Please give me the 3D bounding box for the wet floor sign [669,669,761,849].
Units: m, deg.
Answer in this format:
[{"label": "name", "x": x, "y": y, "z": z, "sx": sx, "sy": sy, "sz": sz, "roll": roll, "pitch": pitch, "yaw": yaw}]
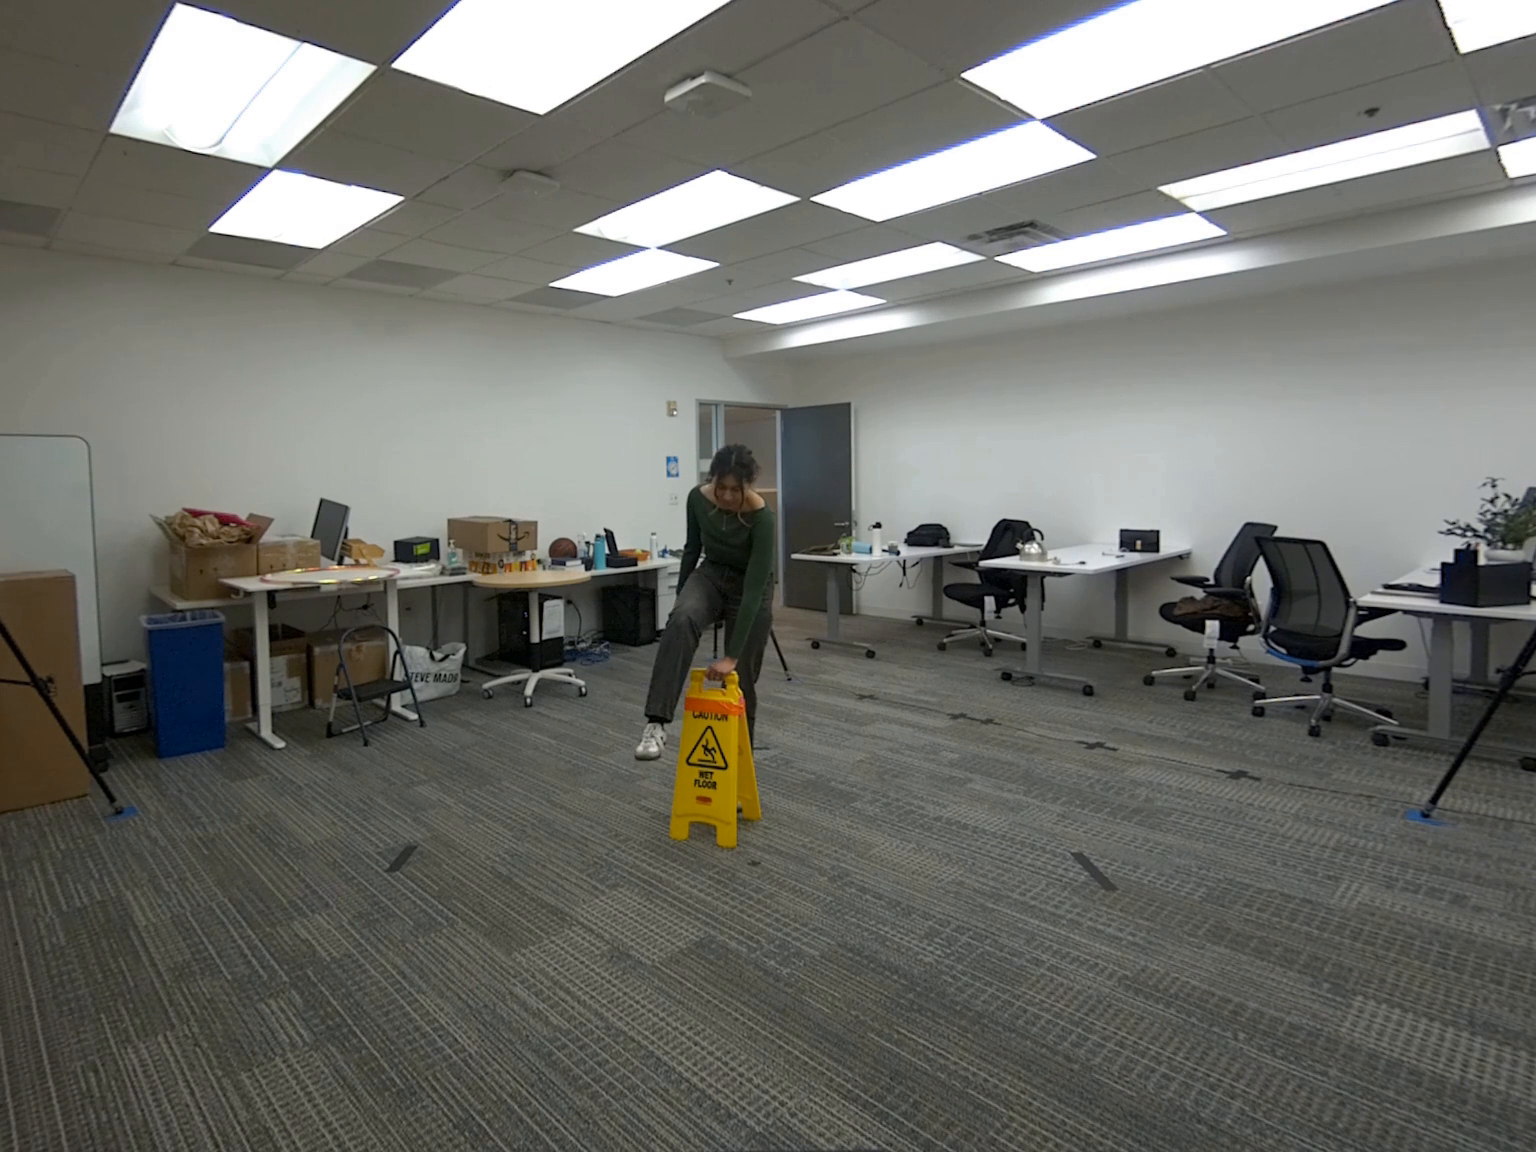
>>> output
[{"label": "wet floor sign", "x": -0.213, "y": 0.691, "z": 3.399, "sx": 0.288, "sy": 0.644, "sz": 0.285, "roll": 0, "pitch": 4, "yaw": 21}]
